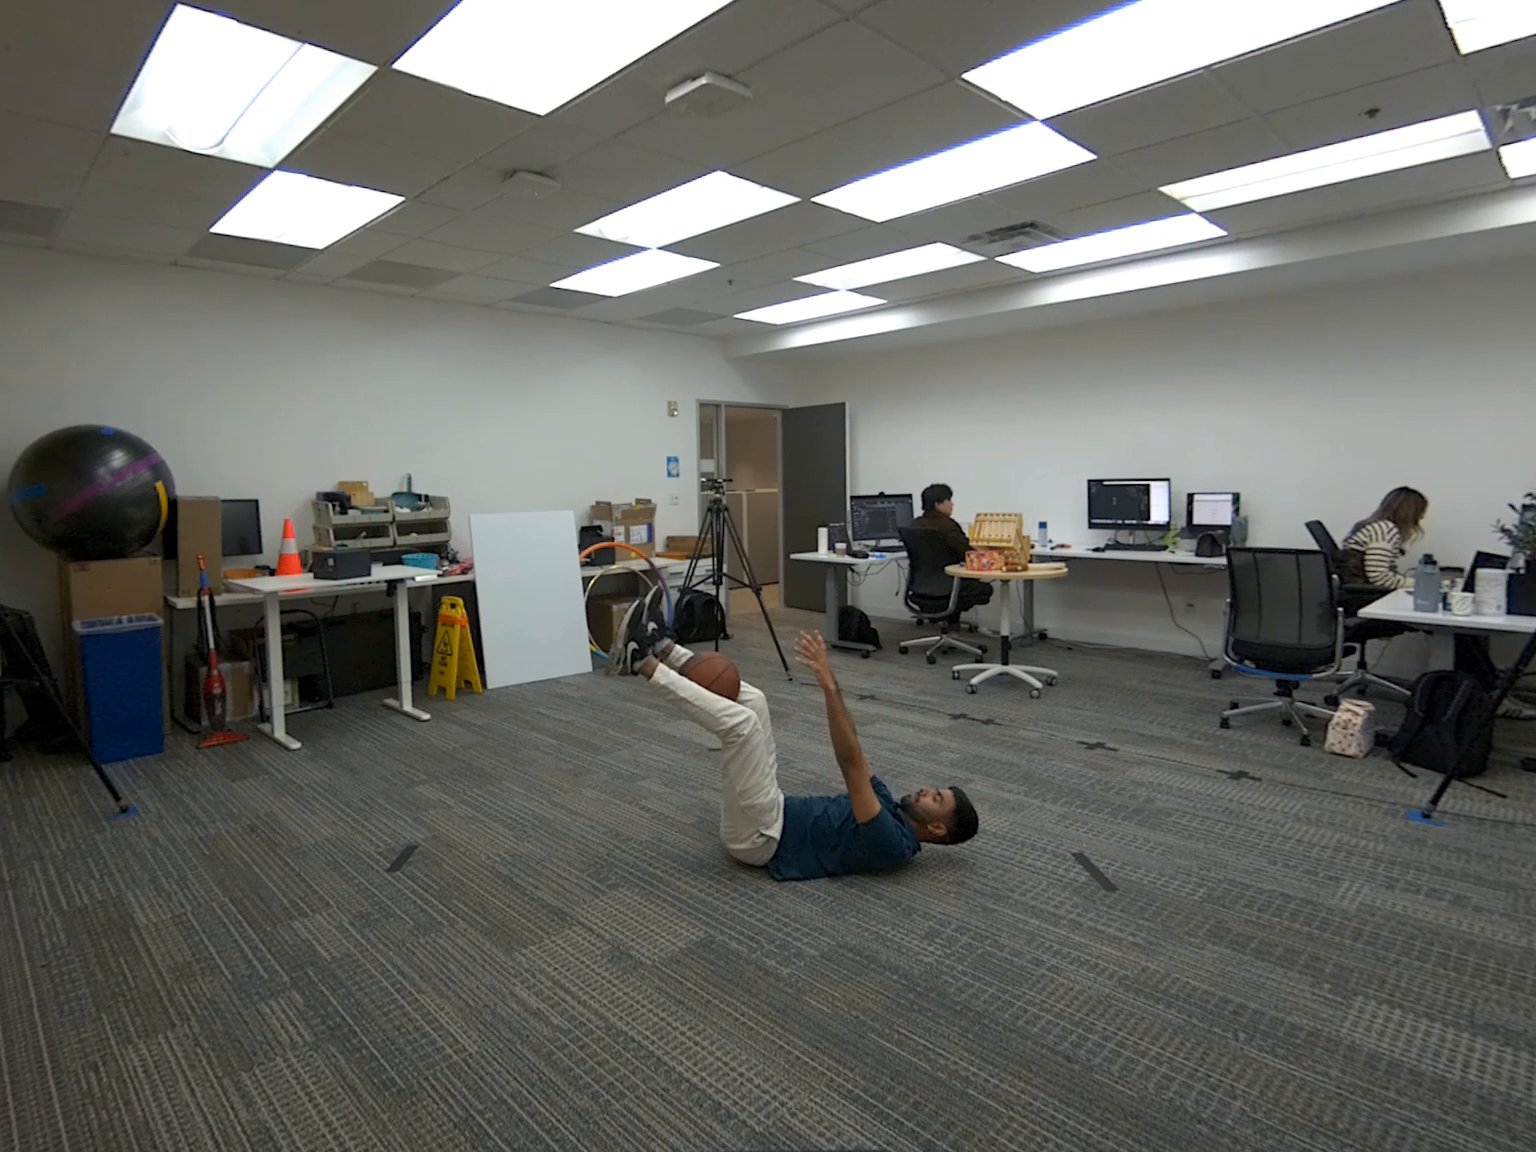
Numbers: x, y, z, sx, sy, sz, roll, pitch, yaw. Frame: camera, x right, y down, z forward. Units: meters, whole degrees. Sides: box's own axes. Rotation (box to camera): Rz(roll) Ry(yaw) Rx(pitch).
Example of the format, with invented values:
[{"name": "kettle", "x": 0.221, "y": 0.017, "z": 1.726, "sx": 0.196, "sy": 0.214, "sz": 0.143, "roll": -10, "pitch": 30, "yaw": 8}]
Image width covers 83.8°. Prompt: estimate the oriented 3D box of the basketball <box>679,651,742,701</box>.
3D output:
[{"name": "basketball", "x": -0.228, "y": 0.399, "z": 3.145, "sx": 0.236, "sy": 0.235, "sz": 0.237, "roll": -1, "pitch": 5, "yaw": -2}]
